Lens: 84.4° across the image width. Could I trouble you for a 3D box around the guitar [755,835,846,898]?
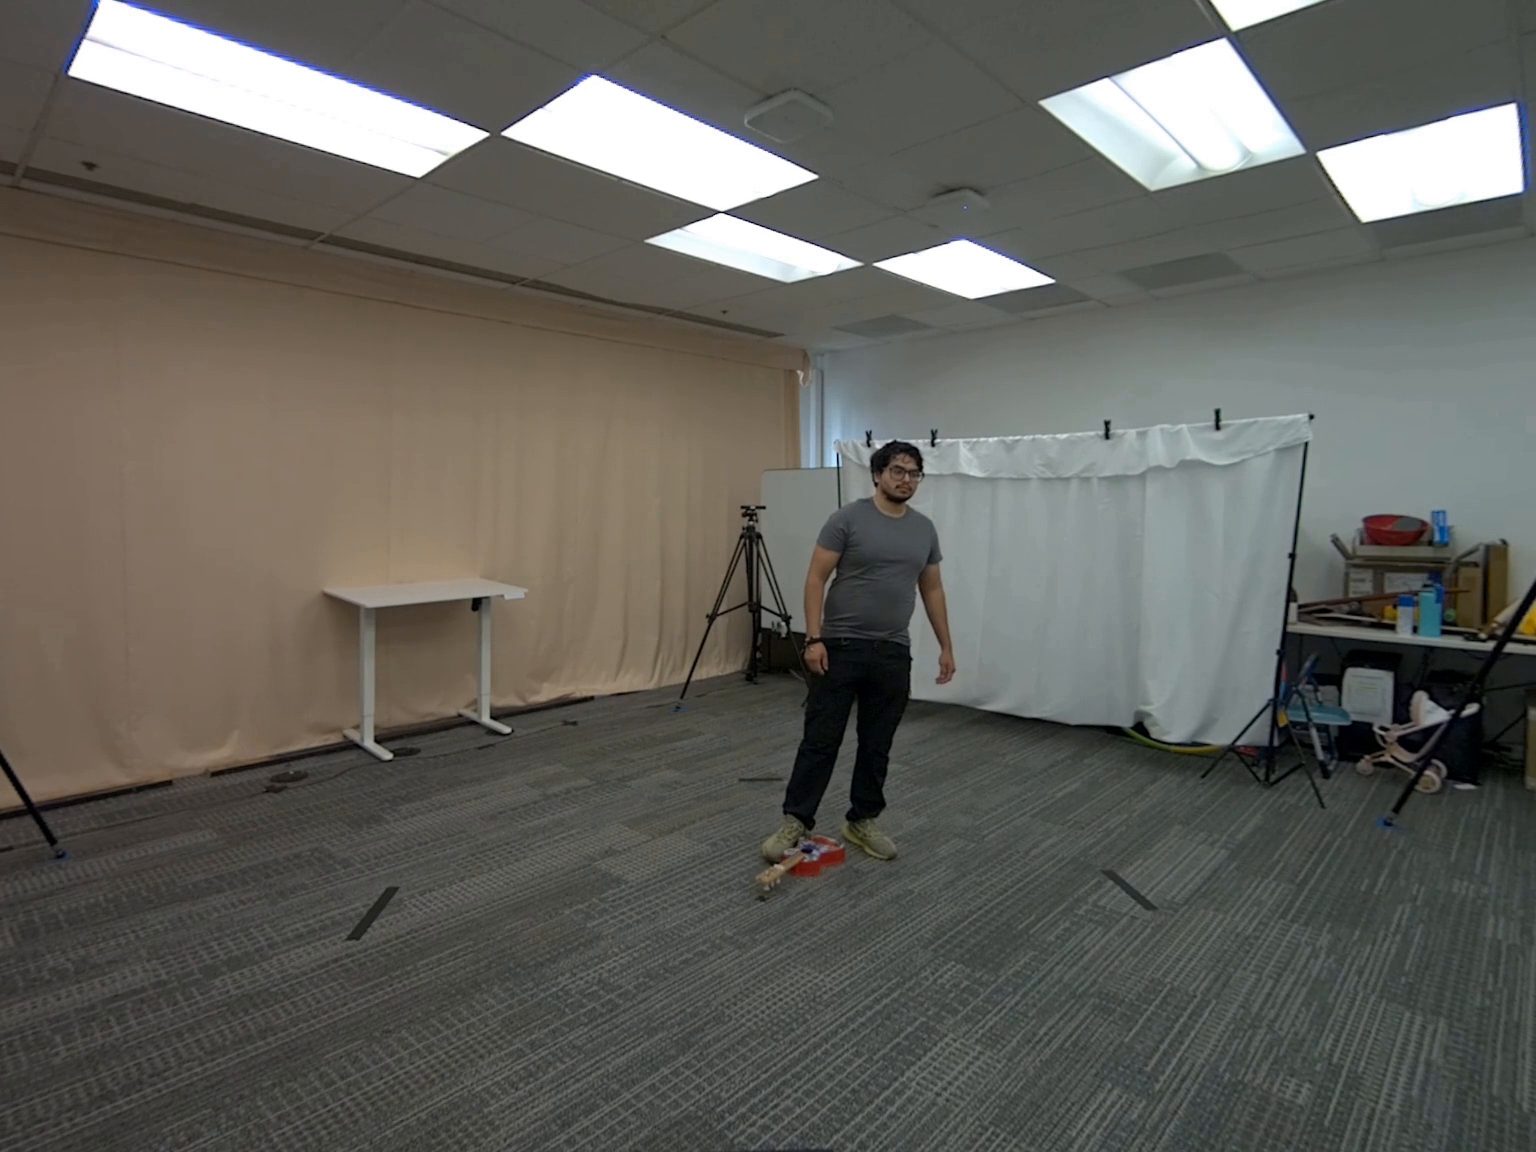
[{"bbox_3d":[0.091,1.089,3.207,0.199,0.070,0.482,4,6,44],"label":"guitar"}]
